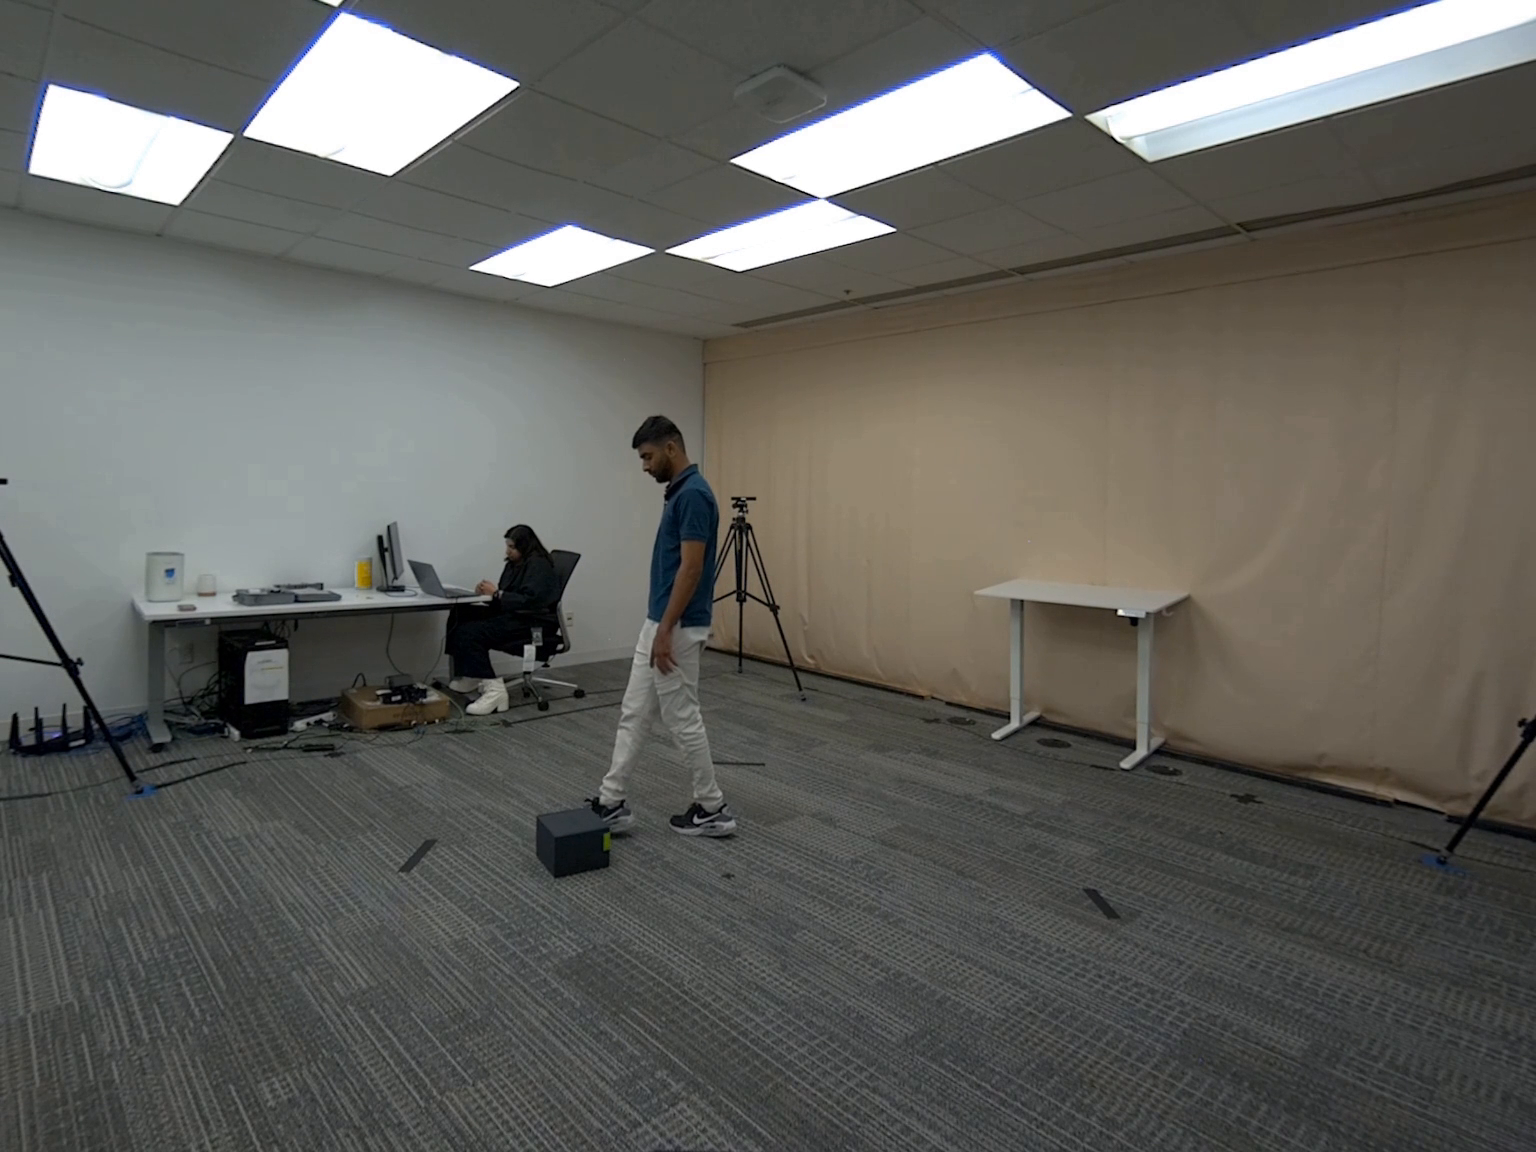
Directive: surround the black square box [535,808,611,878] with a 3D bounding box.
[{"bbox_3d":[-0.748,1.004,3.198,0.212,0.155,0.233,-1,5,-33],"label":"black square box"}]
